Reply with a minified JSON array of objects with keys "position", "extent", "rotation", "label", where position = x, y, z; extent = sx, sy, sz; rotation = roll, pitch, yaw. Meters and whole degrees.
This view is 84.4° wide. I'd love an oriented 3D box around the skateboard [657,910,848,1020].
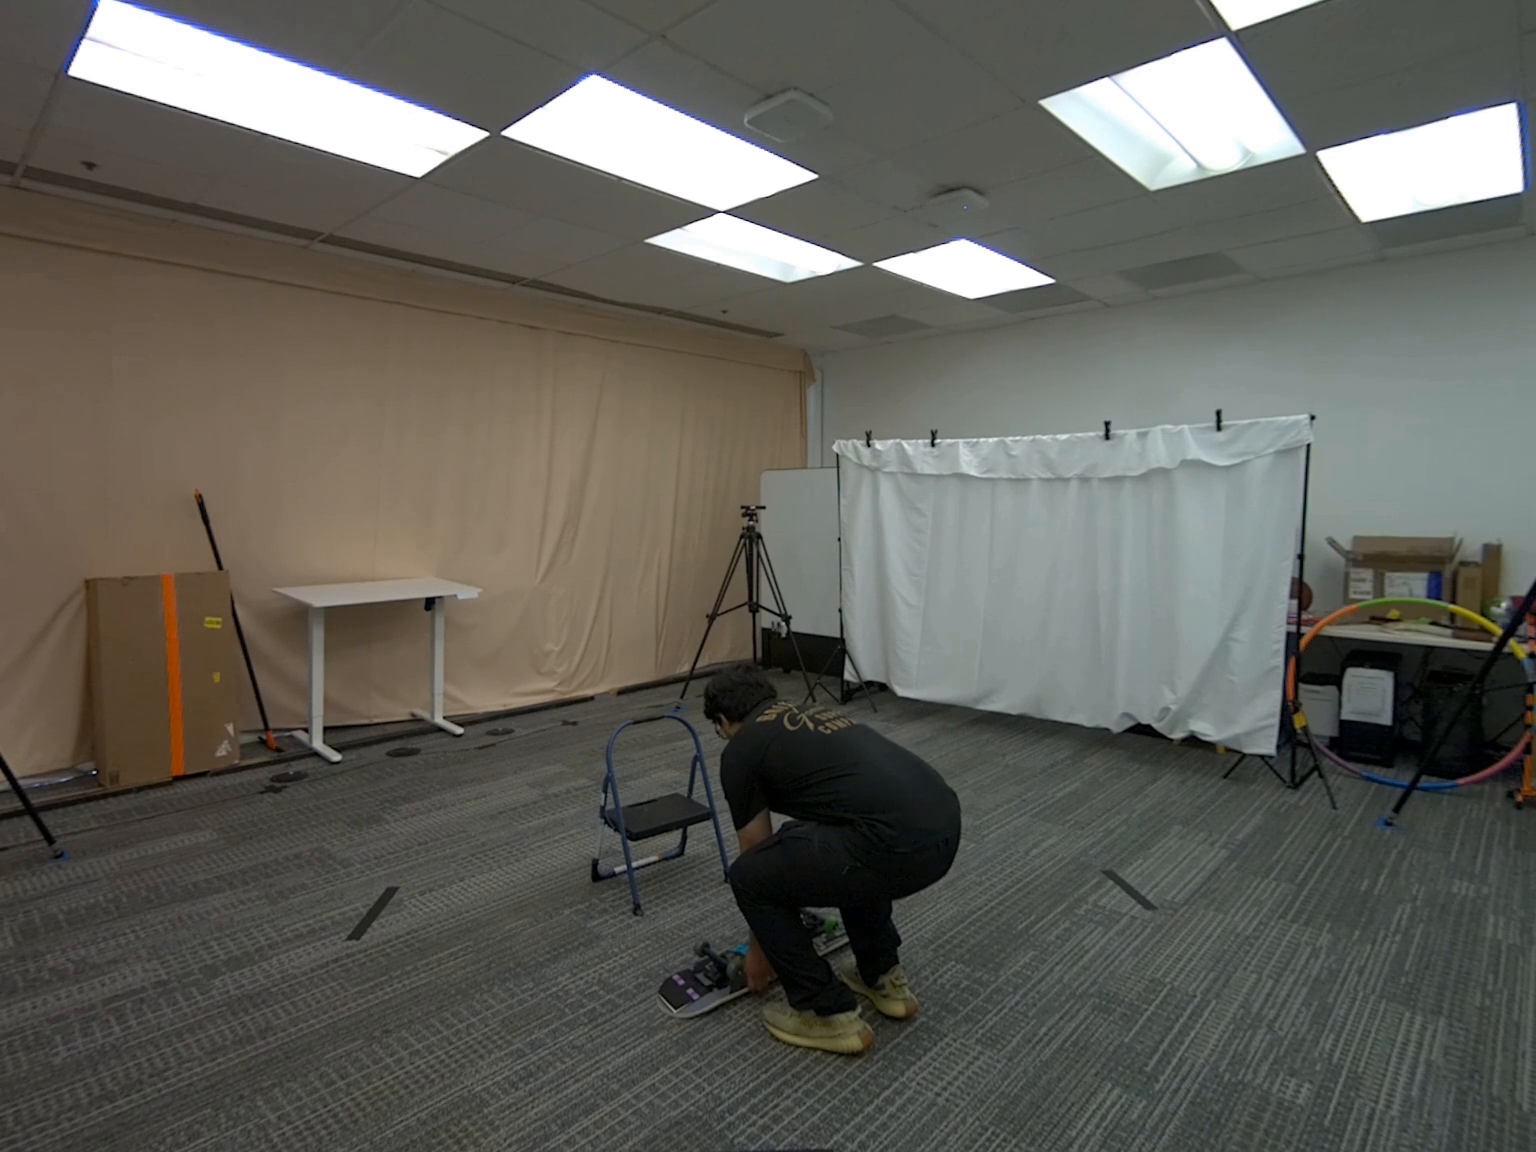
[{"position":[0.003,1.132,2.557],"extent":[0.762,0.110,0.200],"rotation":[-4,6,-41],"label":"skateboard"}]
